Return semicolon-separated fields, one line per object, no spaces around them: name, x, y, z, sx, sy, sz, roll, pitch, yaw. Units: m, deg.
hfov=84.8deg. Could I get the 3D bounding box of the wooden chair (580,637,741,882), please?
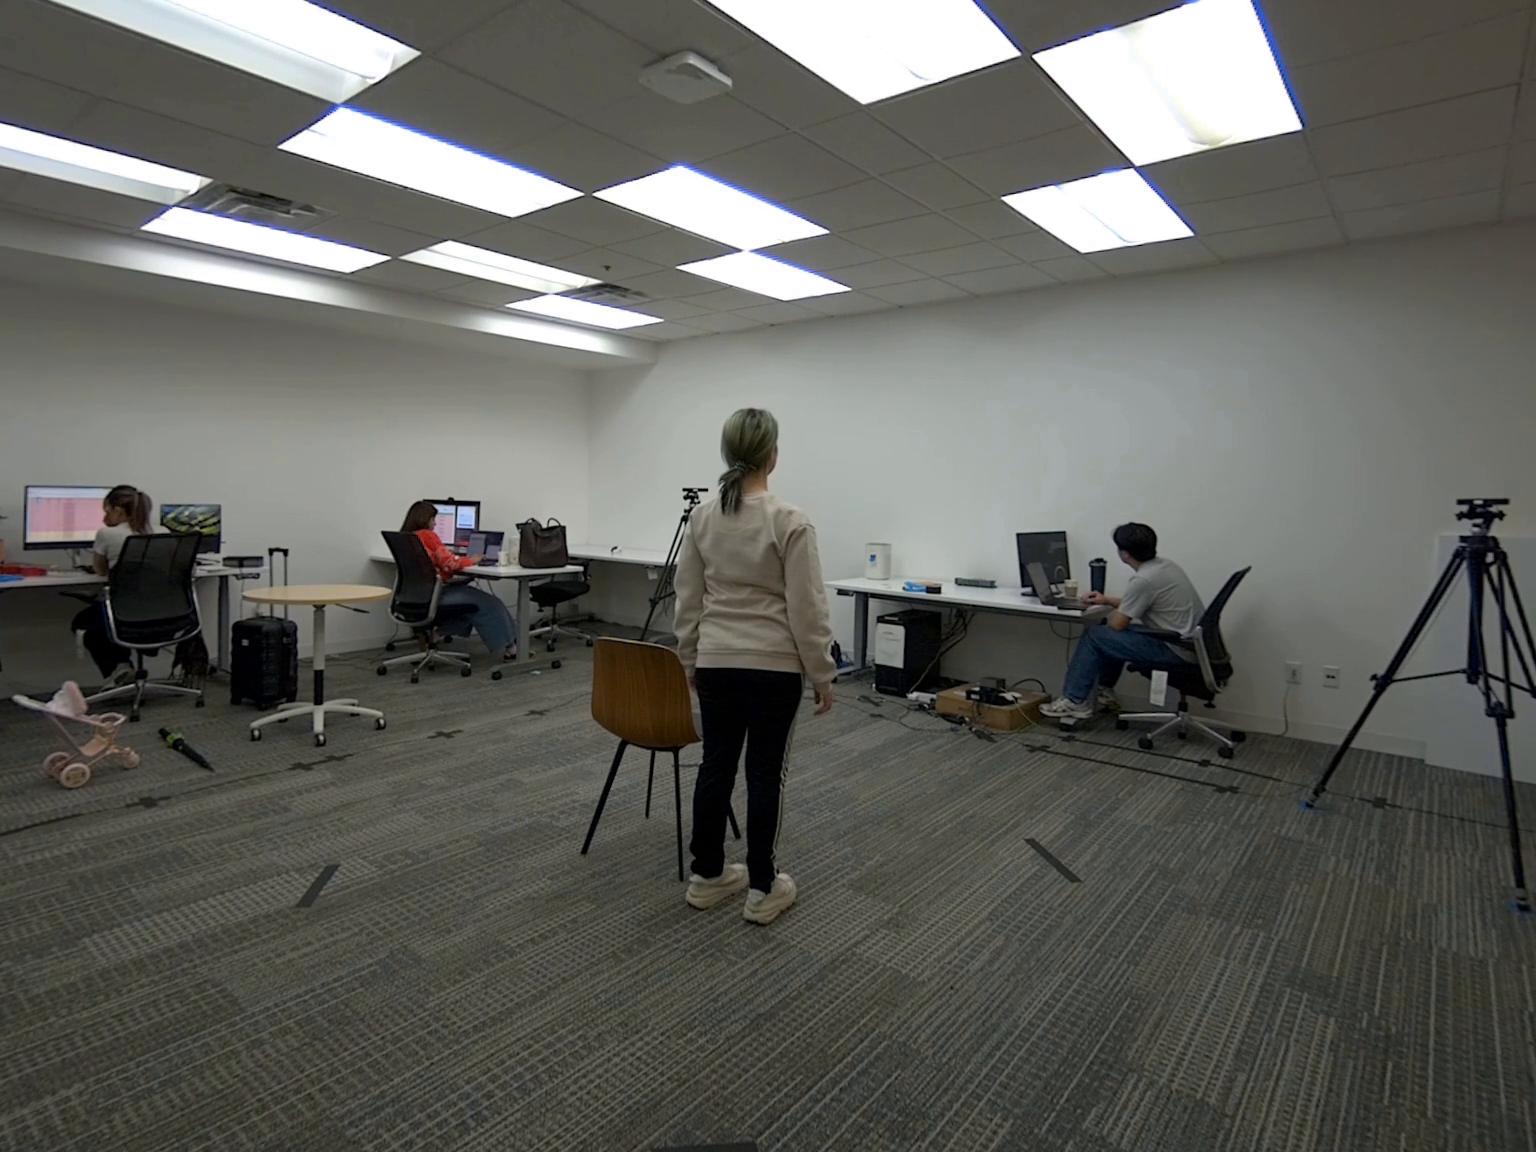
wooden chair;-0.409;0.621;3.288;0.491;0.872;0.512;3;7;27
